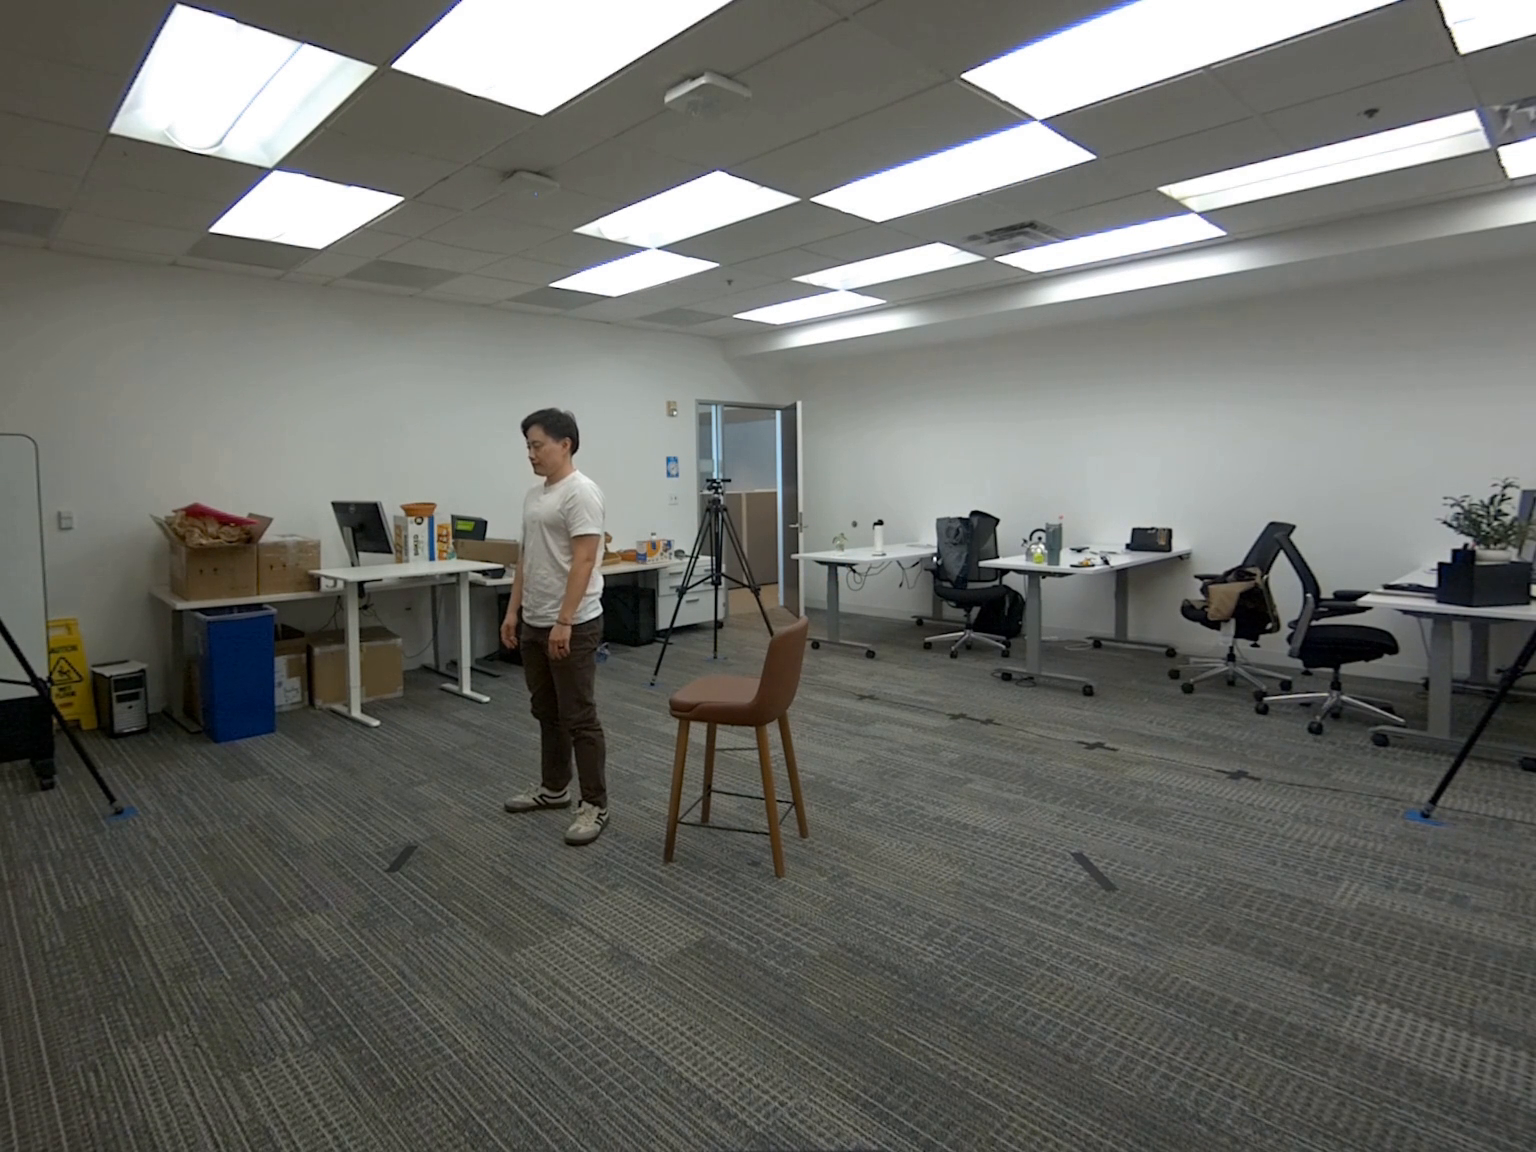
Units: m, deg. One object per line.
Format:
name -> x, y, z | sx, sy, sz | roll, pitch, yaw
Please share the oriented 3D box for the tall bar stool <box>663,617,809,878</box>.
tall bar stool -> -0.113, 0.599, 3.212 | 0.477, 0.886, 0.449 | 2, 5, 20
